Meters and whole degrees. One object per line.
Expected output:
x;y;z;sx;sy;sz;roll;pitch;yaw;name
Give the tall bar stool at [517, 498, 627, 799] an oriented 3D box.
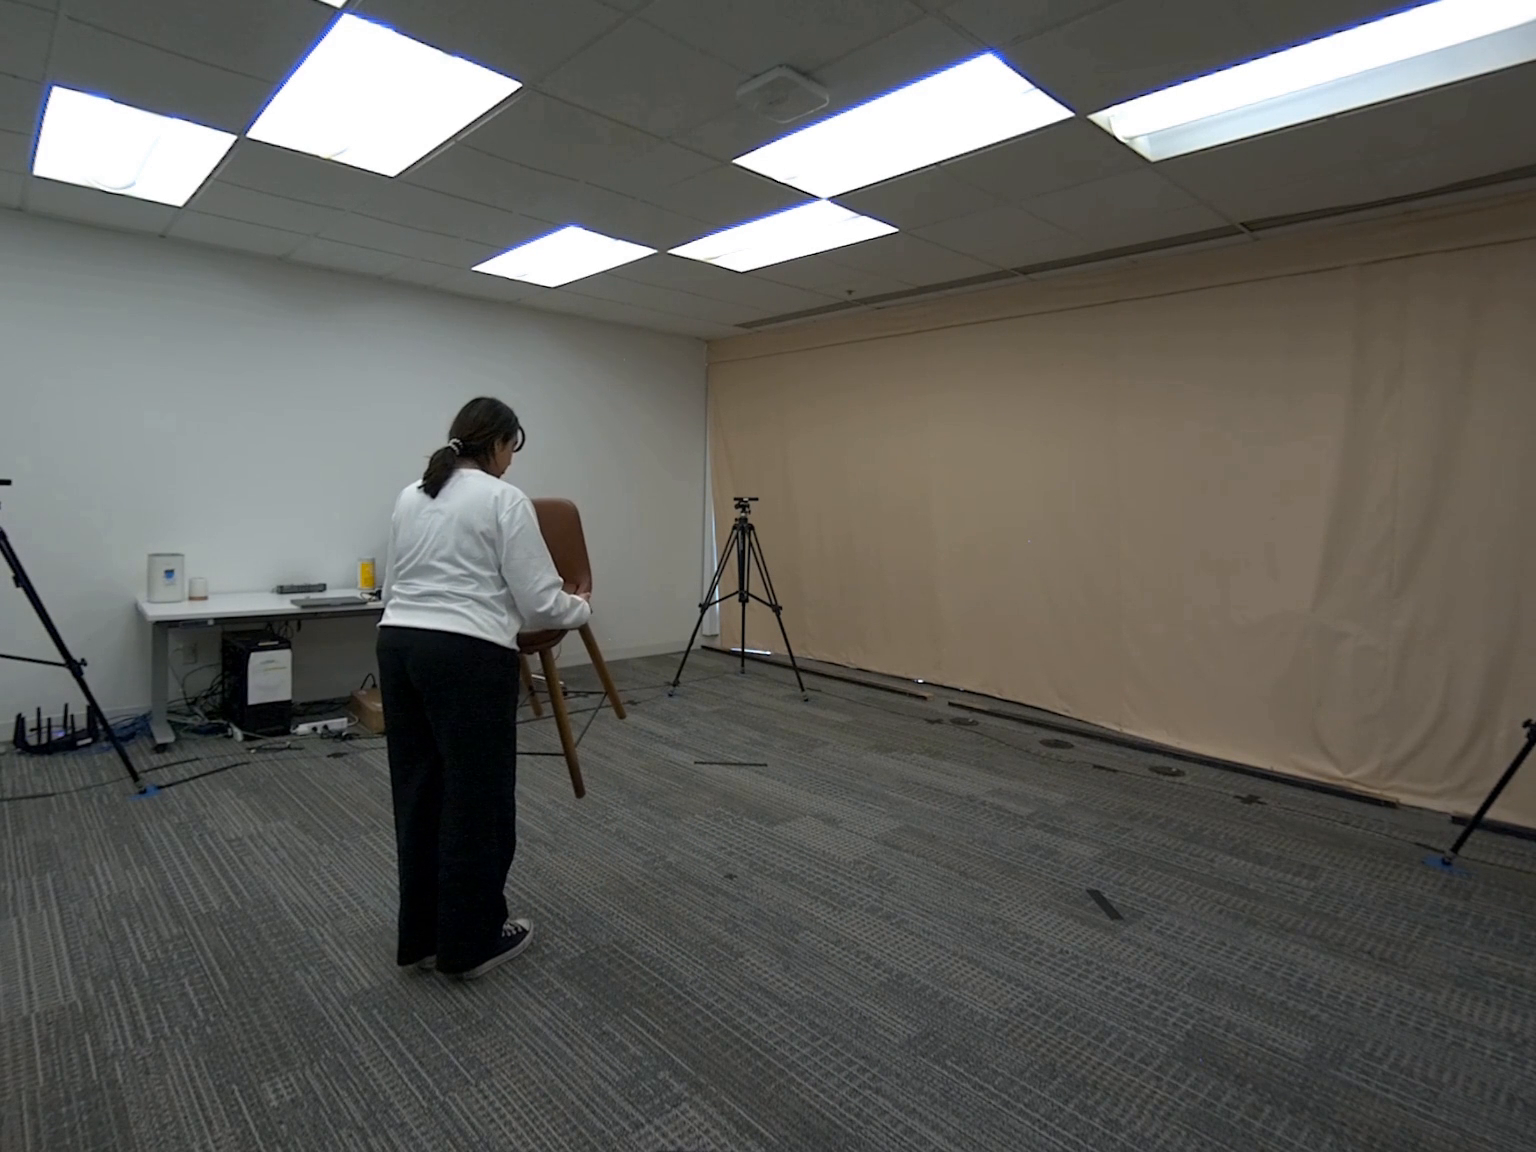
-0.814;0.244;2.815;0.462;0.874;0.470;-1;24;15;tall bar stool
